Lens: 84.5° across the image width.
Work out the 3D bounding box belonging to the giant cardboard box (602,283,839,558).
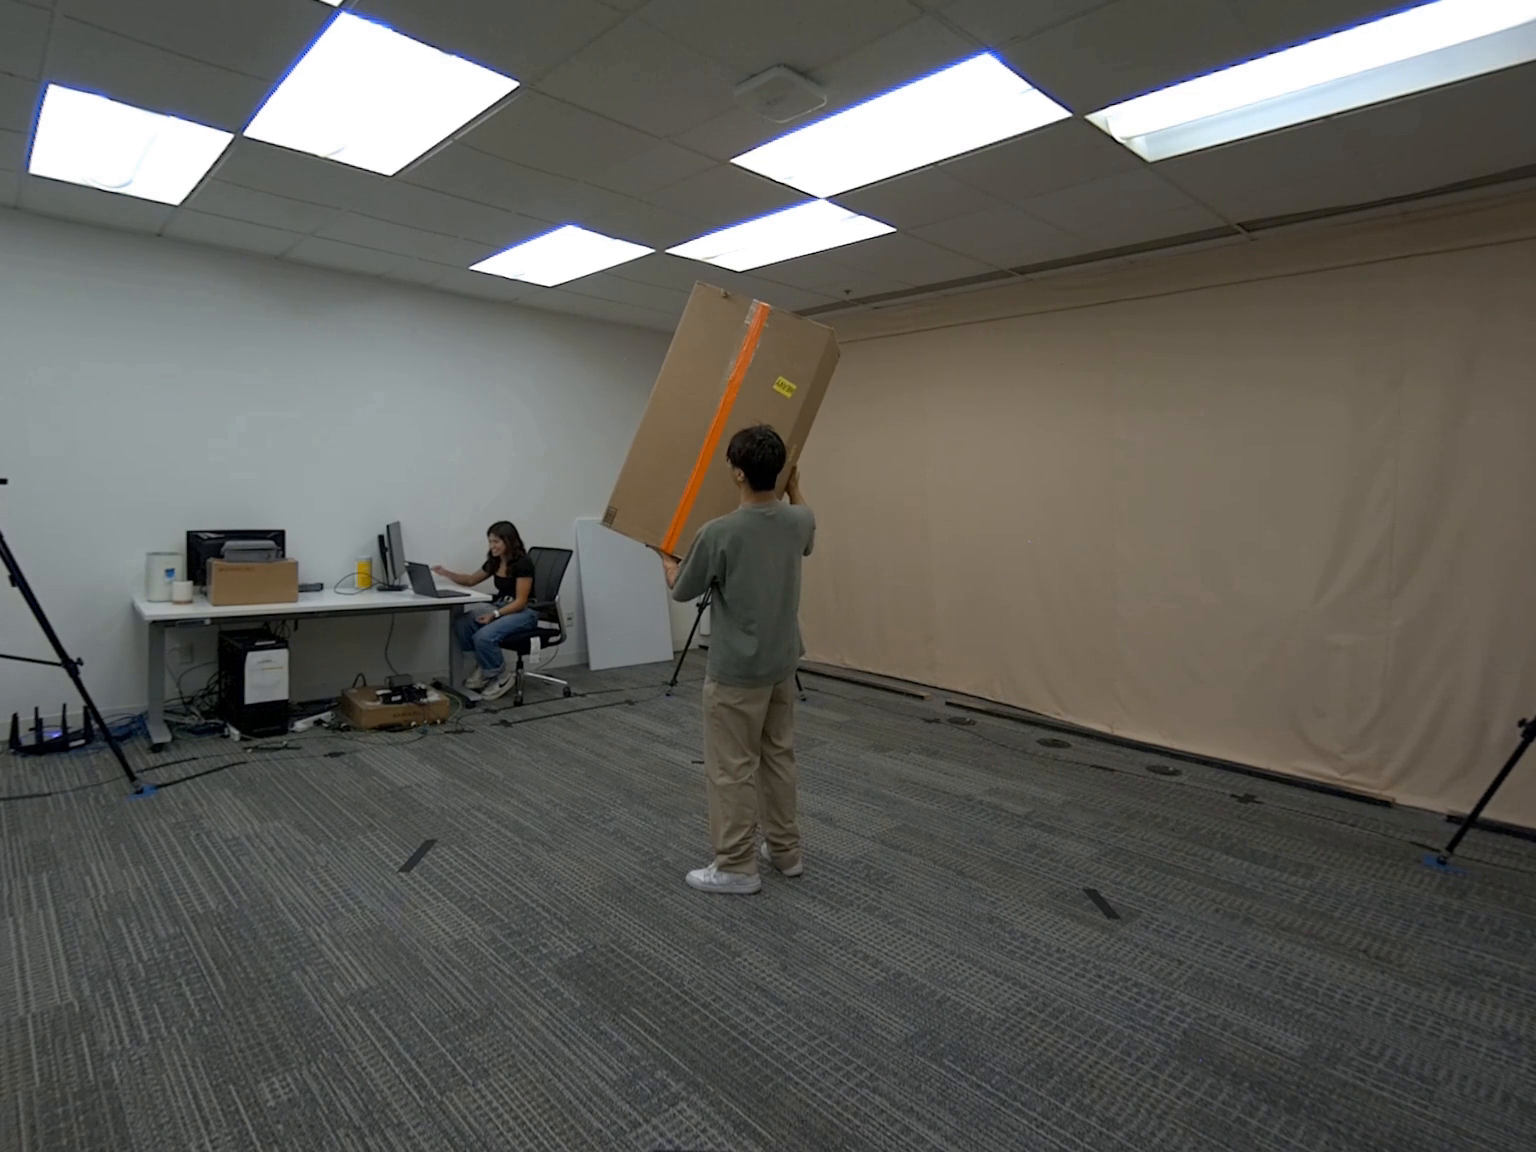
[{"bbox_3d":[-0.182,-0.564,3.422,0.584,1.024,0.422,23,3,9],"label":"giant cardboard box"}]
